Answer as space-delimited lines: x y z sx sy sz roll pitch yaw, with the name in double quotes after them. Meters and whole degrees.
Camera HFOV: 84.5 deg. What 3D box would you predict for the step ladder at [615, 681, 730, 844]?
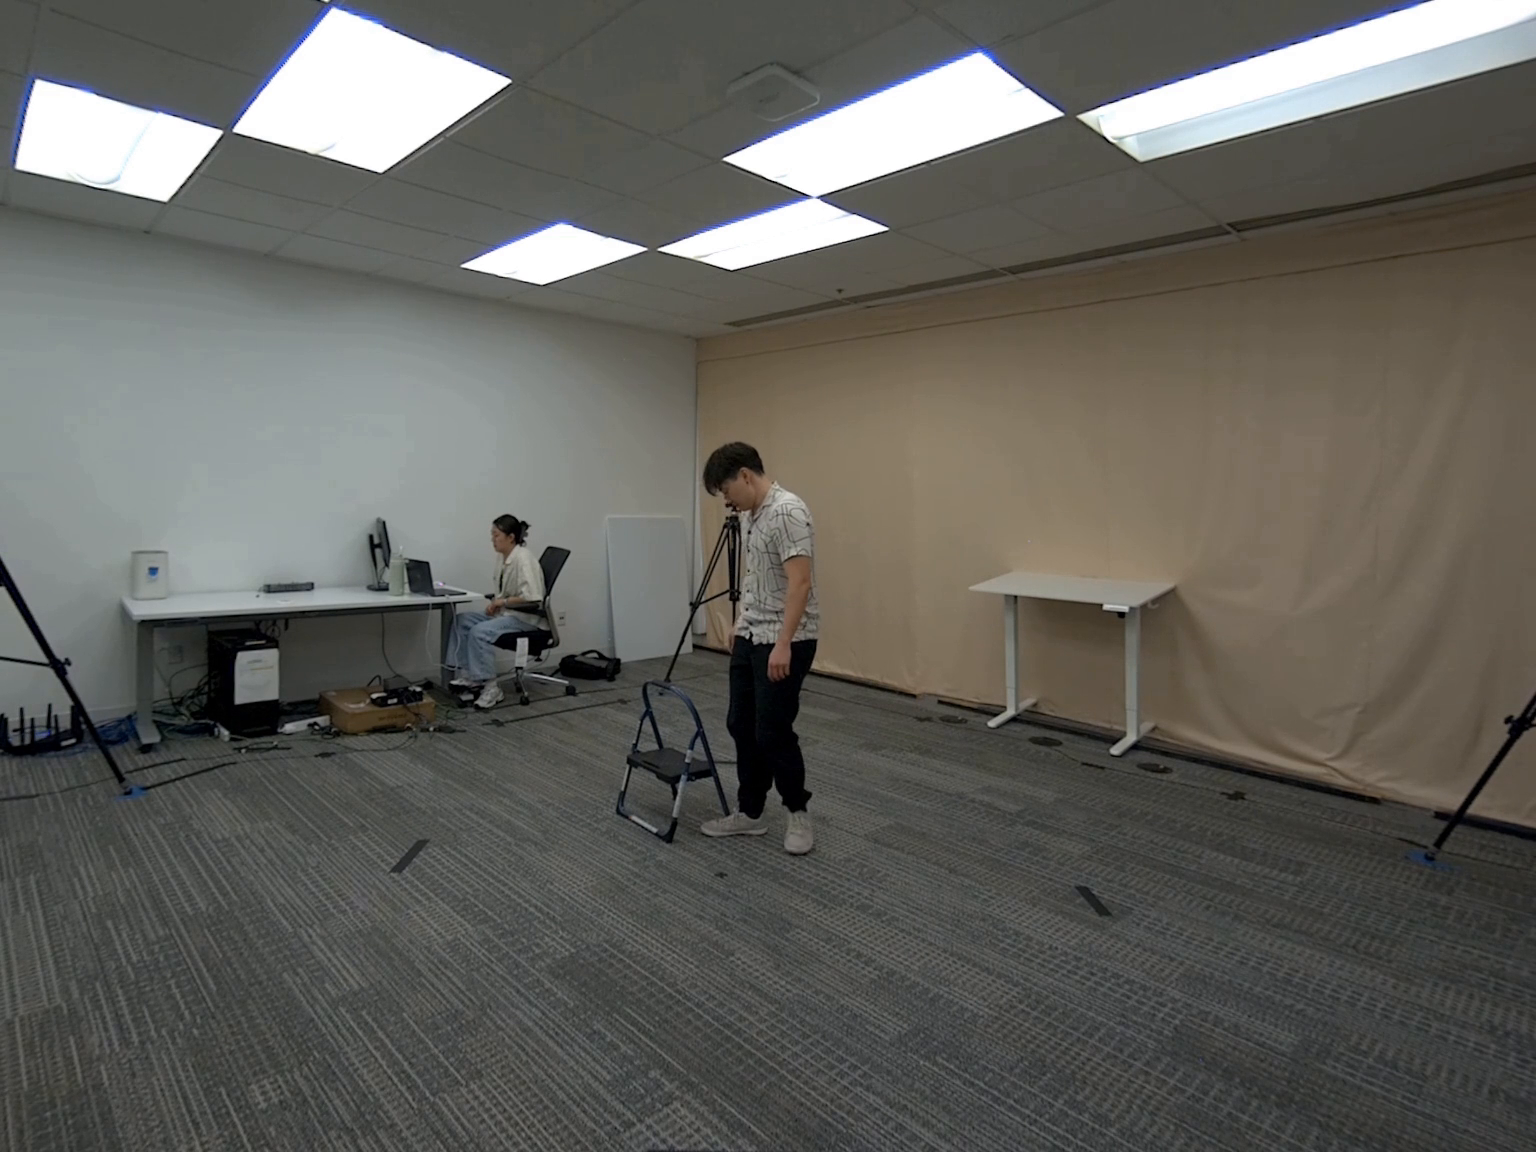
-0.404 0.745 3.624 0.341 0.605 0.441 0 3 -41 "step ladder"
